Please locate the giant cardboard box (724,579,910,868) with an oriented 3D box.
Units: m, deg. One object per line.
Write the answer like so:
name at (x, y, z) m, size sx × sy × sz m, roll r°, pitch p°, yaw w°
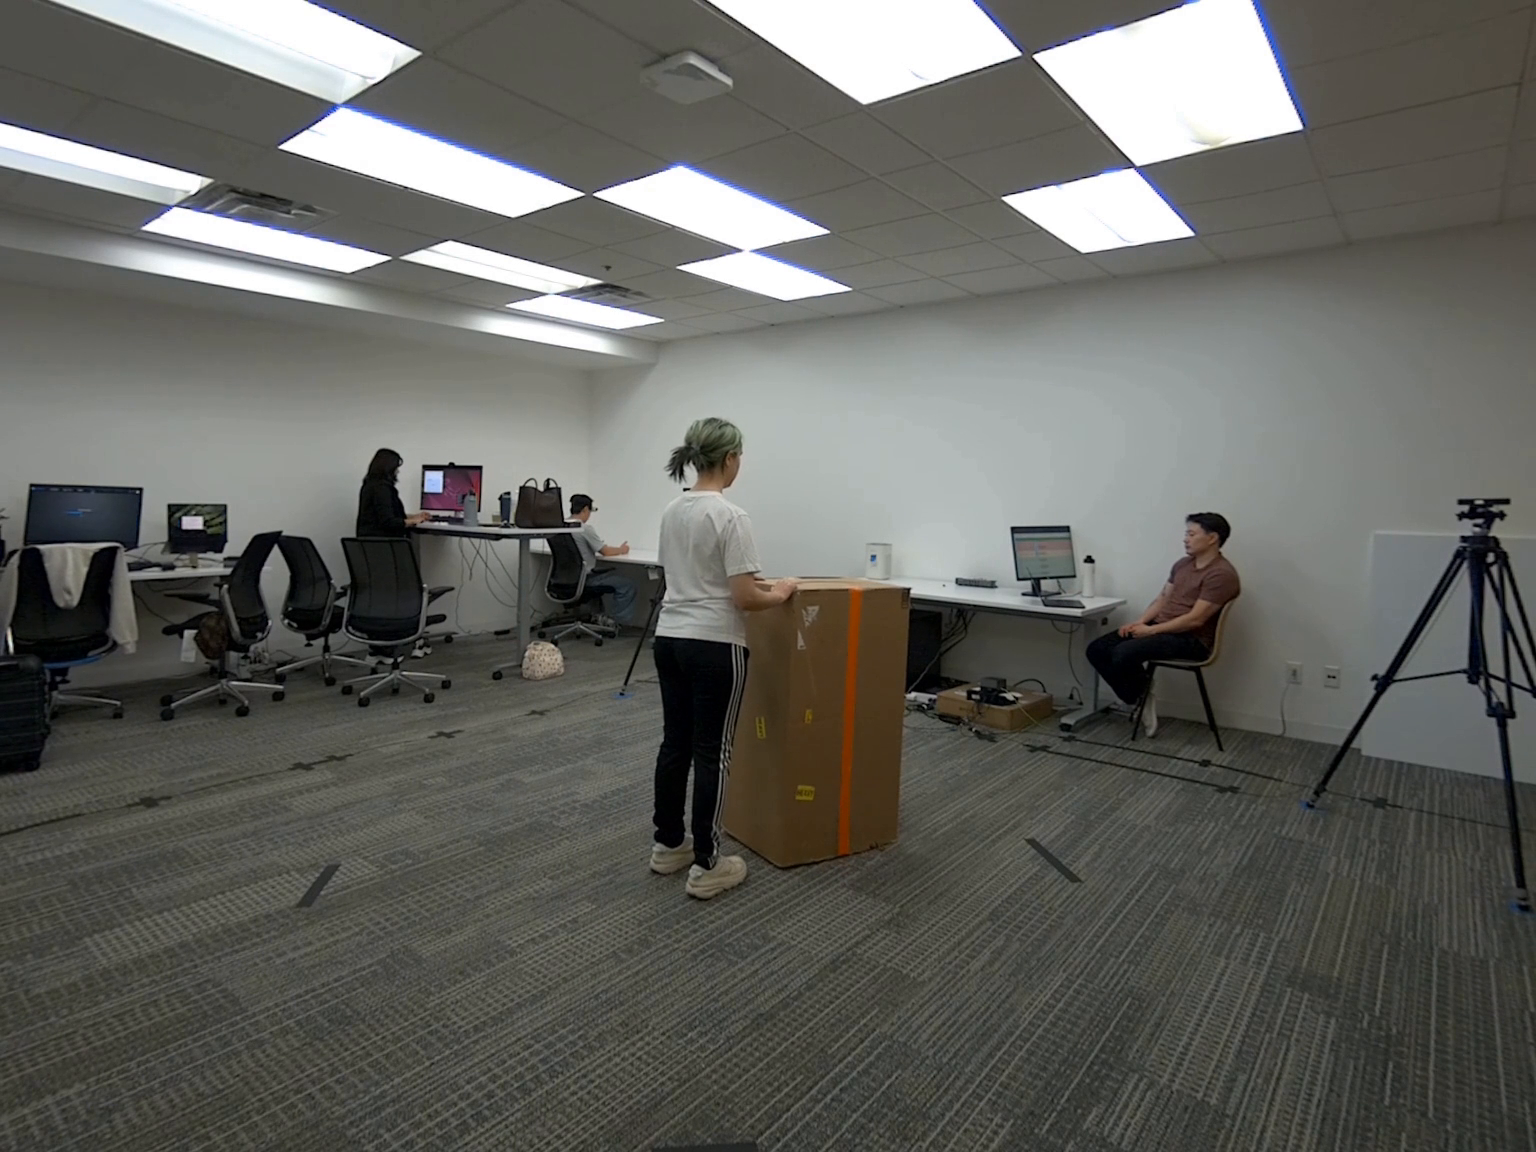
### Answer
giant cardboard box at (0.182, 0.537, 3.414) m, size 0.567 × 1.025 × 0.461 m, roll 1°, pitch 2°, yaw -34°
